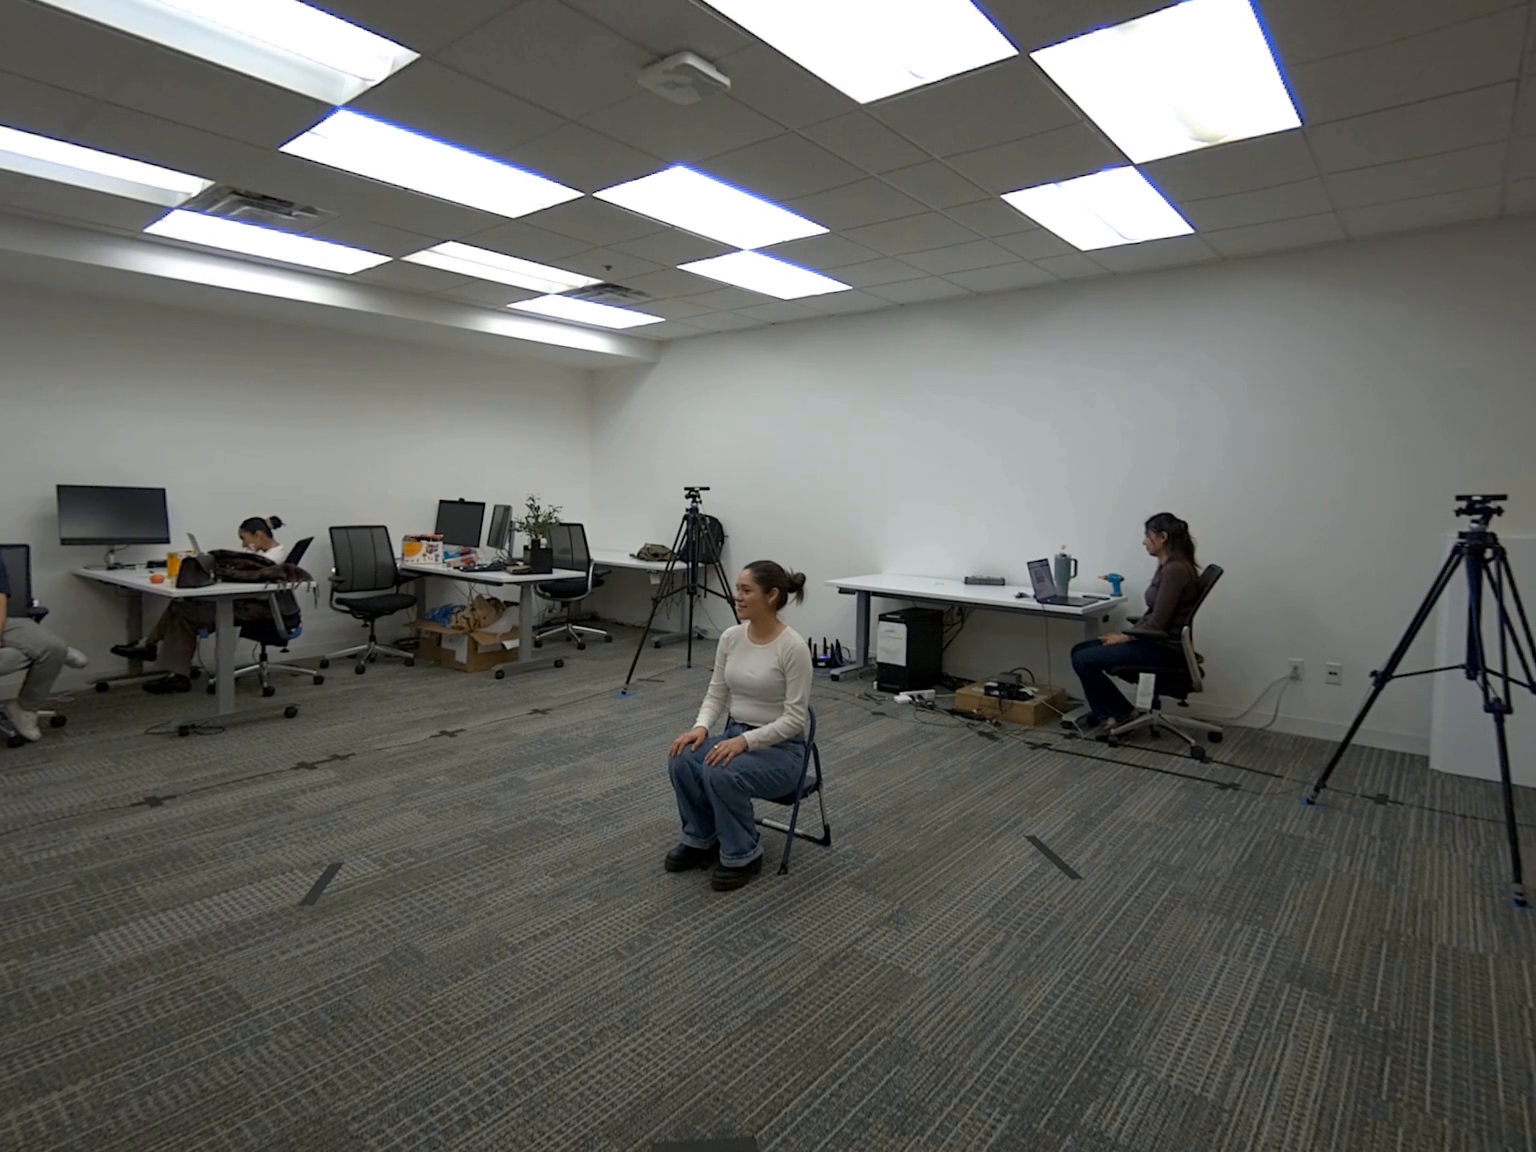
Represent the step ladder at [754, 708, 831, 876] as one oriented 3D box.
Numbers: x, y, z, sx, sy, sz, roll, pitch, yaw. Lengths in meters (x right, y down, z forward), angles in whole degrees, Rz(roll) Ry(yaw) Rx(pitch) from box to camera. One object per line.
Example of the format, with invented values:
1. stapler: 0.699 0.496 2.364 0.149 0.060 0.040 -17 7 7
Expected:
1. step ladder: -0.014 0.743 3.318 0.445 0.604 0.339 4 4 37
